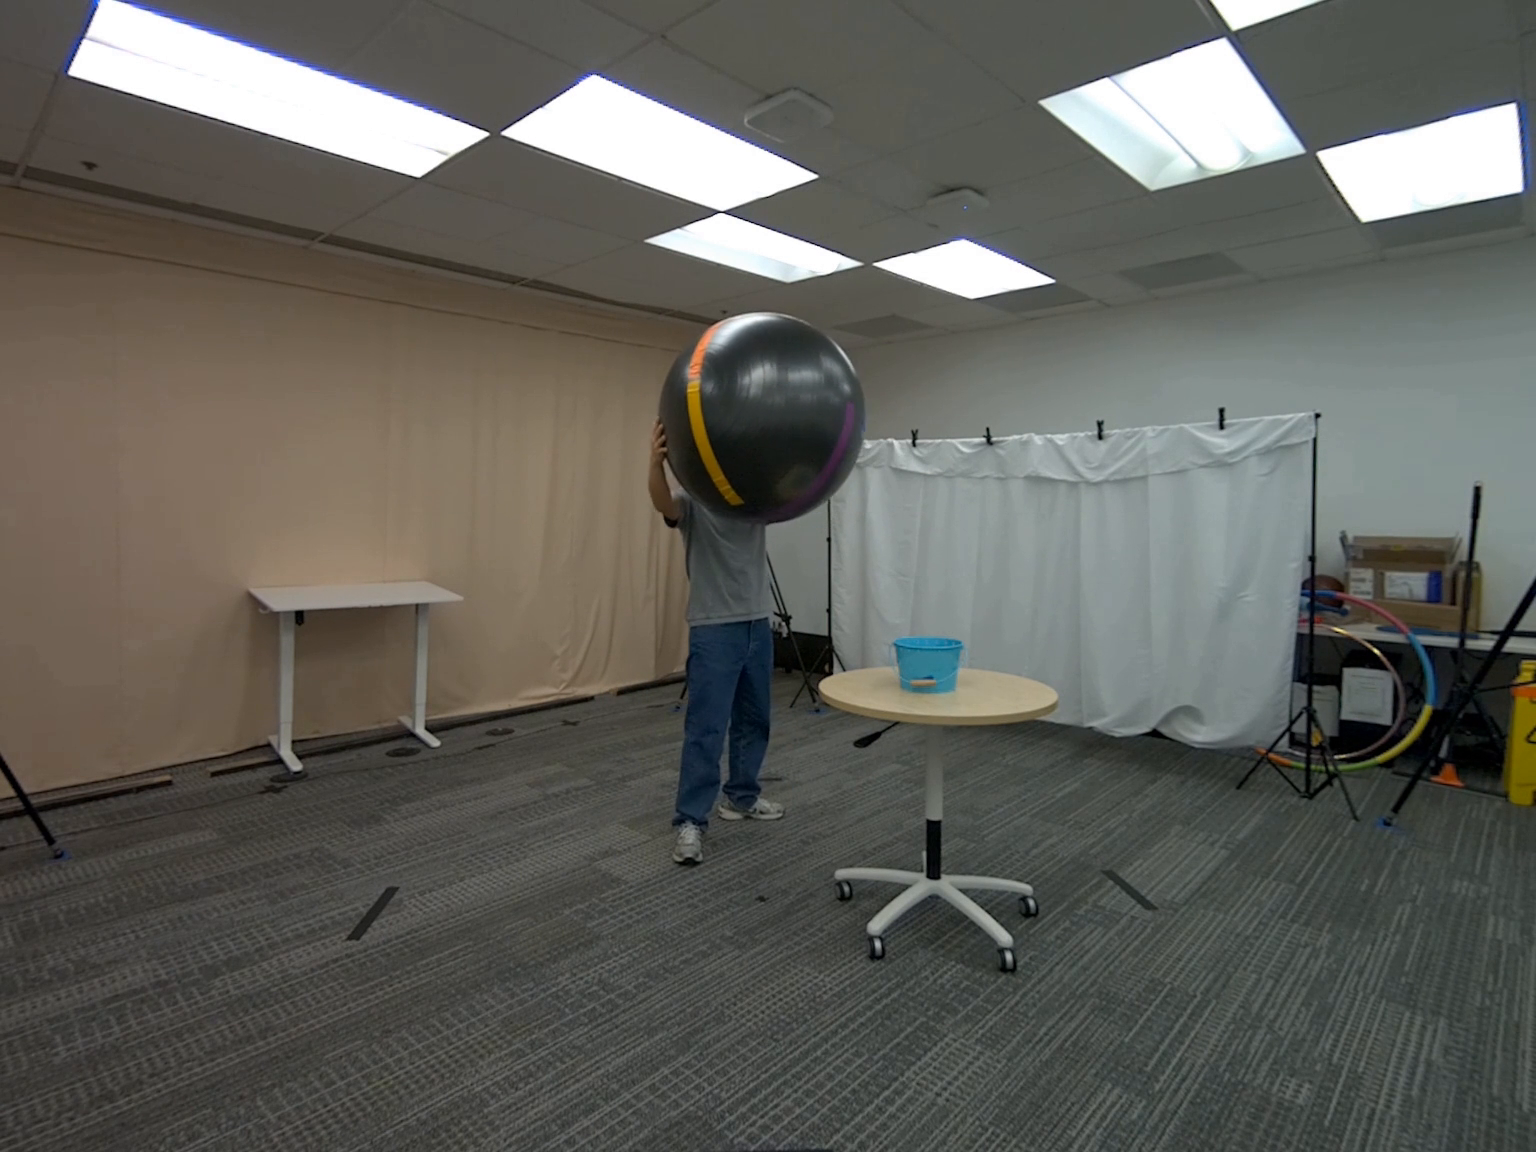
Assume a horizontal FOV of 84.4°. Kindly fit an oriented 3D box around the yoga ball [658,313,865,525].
[{"bbox_3d":[-0.026,-0.569,3.083,0.757,0.756,0.760,0,4,-2],"label":"yoga ball"}]
